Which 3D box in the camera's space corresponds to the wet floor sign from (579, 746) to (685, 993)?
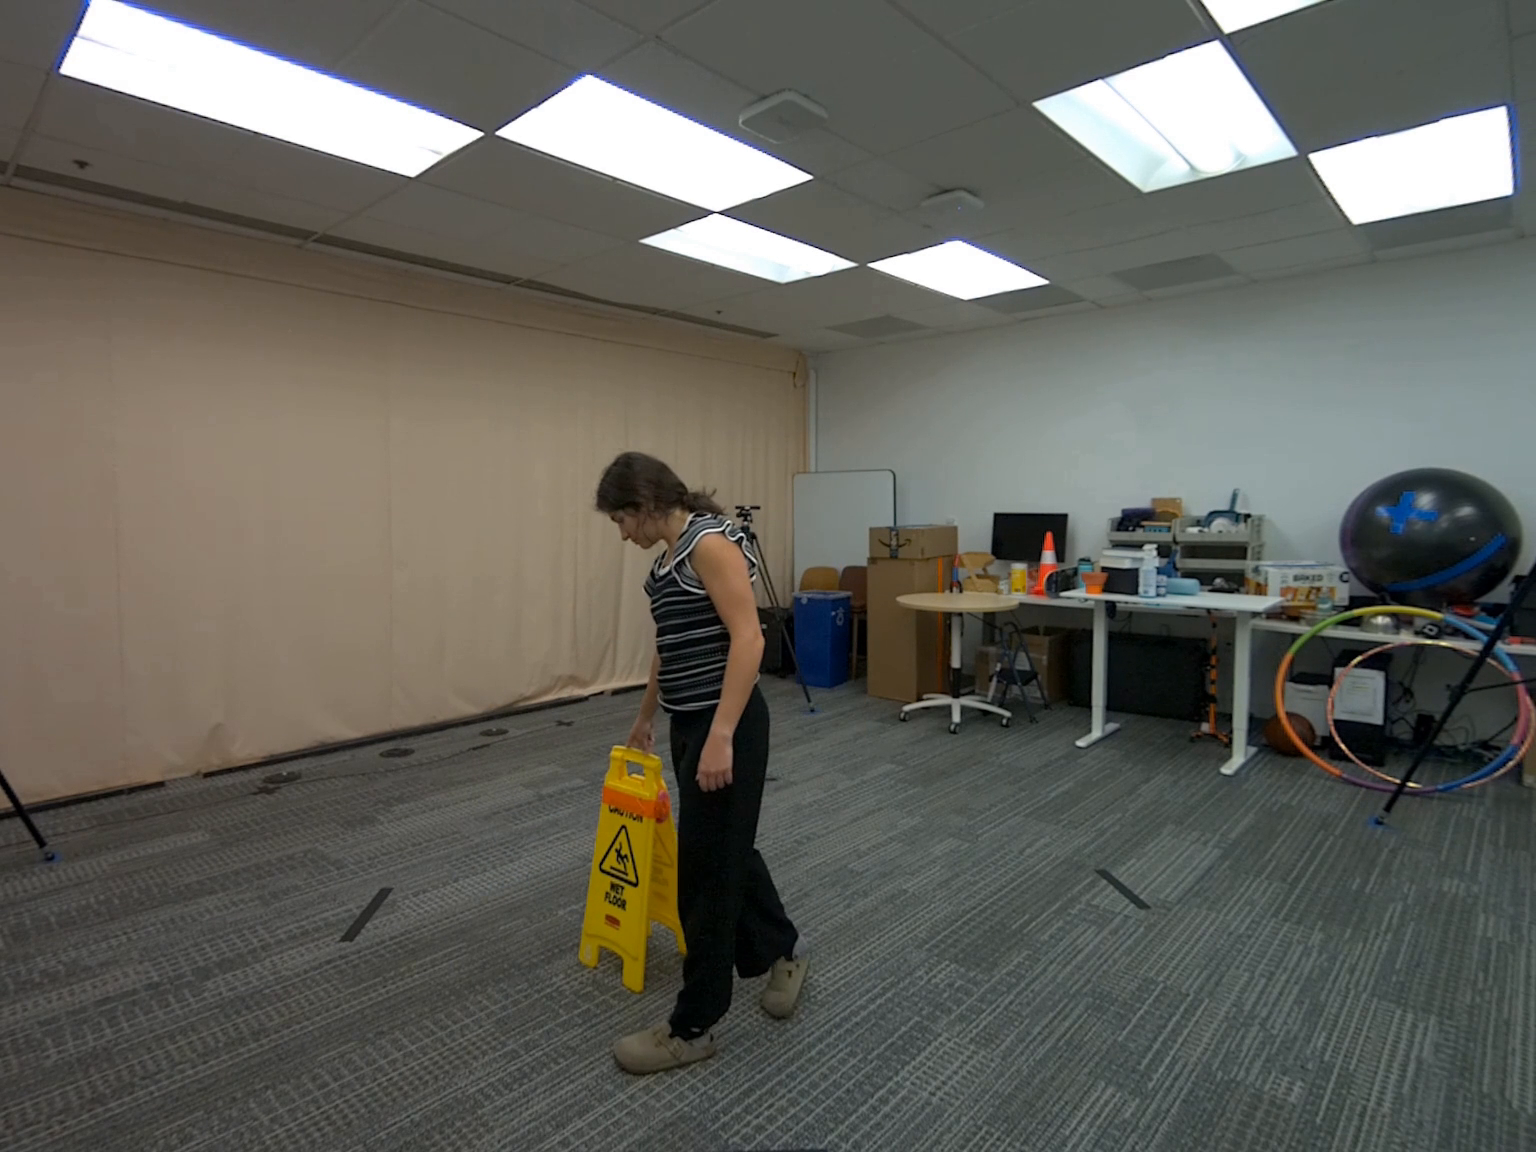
[{"bbox_3d":[-0.401,0.857,2.568,0.291,0.644,0.281,1,4,38],"label":"wet floor sign"}]
